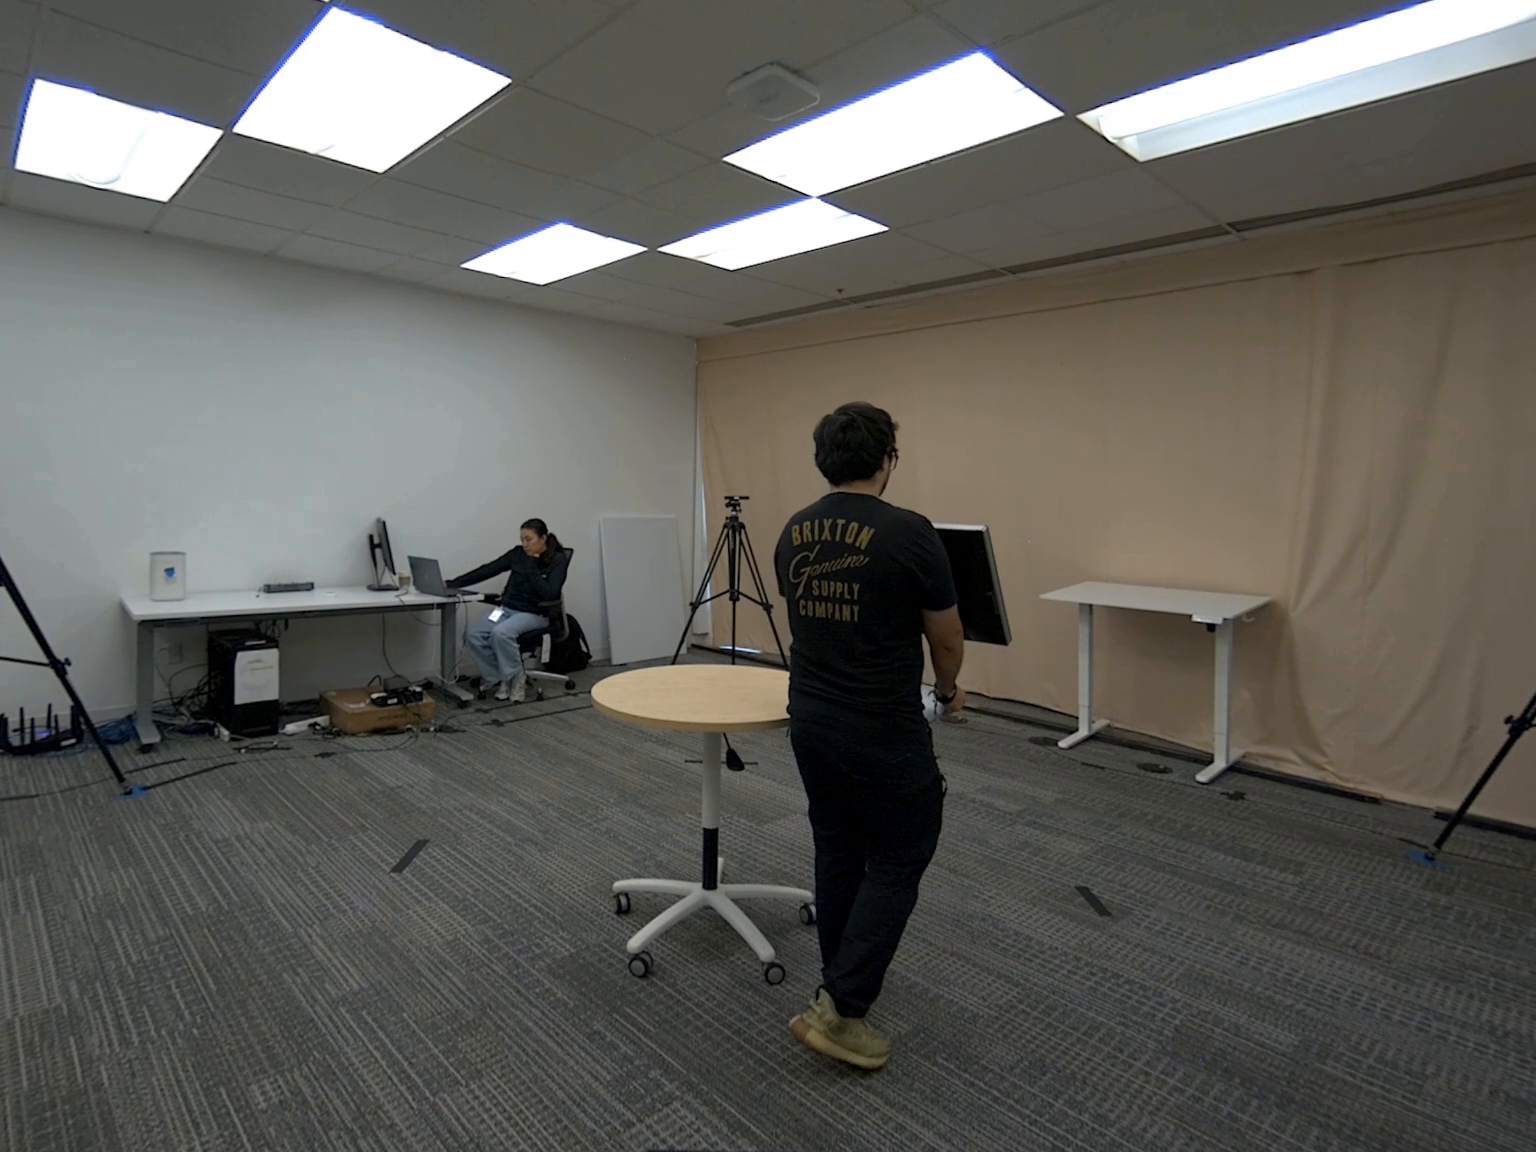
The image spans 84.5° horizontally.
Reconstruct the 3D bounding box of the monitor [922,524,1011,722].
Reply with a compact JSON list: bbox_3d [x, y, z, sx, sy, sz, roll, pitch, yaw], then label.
[{"bbox_3d":[0.338,0.130,2.337,0.580,0.544,0.208,8,29,38],"label":"monitor"}]
